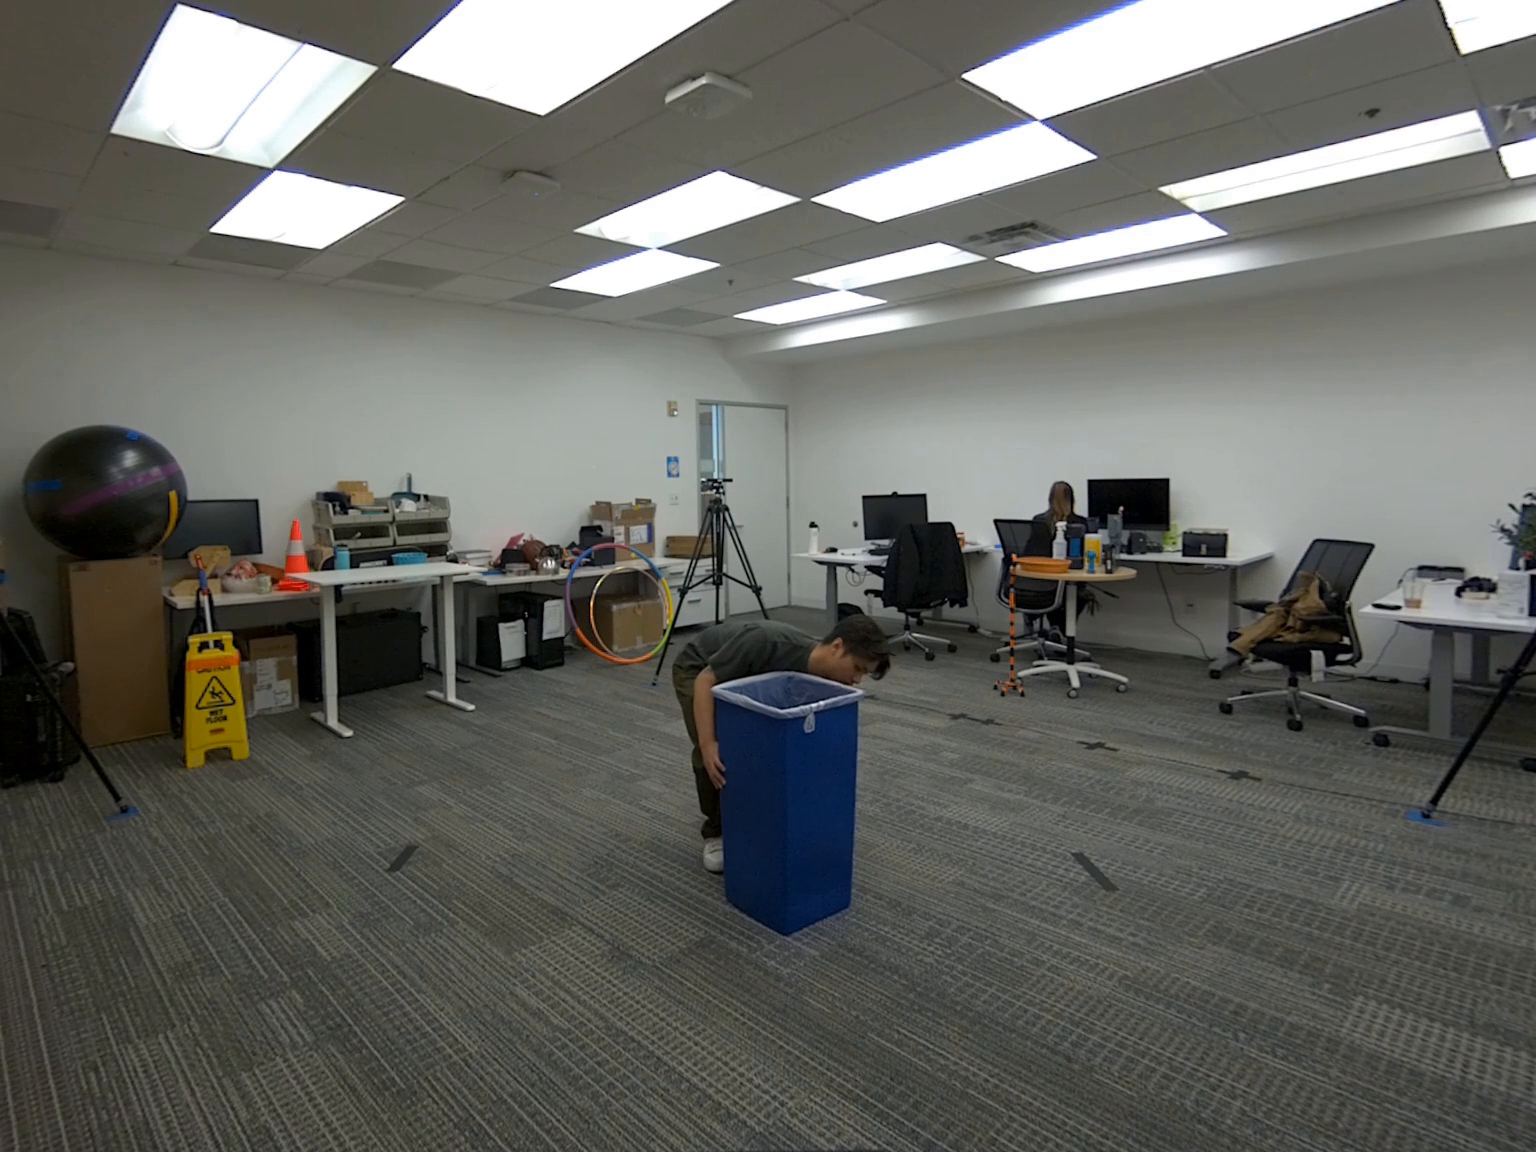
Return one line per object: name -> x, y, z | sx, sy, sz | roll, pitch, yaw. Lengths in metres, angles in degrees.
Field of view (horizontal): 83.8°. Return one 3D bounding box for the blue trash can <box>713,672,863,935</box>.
blue trash can -> 0.062, 0.724, 2.771 | 0.364, 0.711, 0.390 | -4, 6, -41
